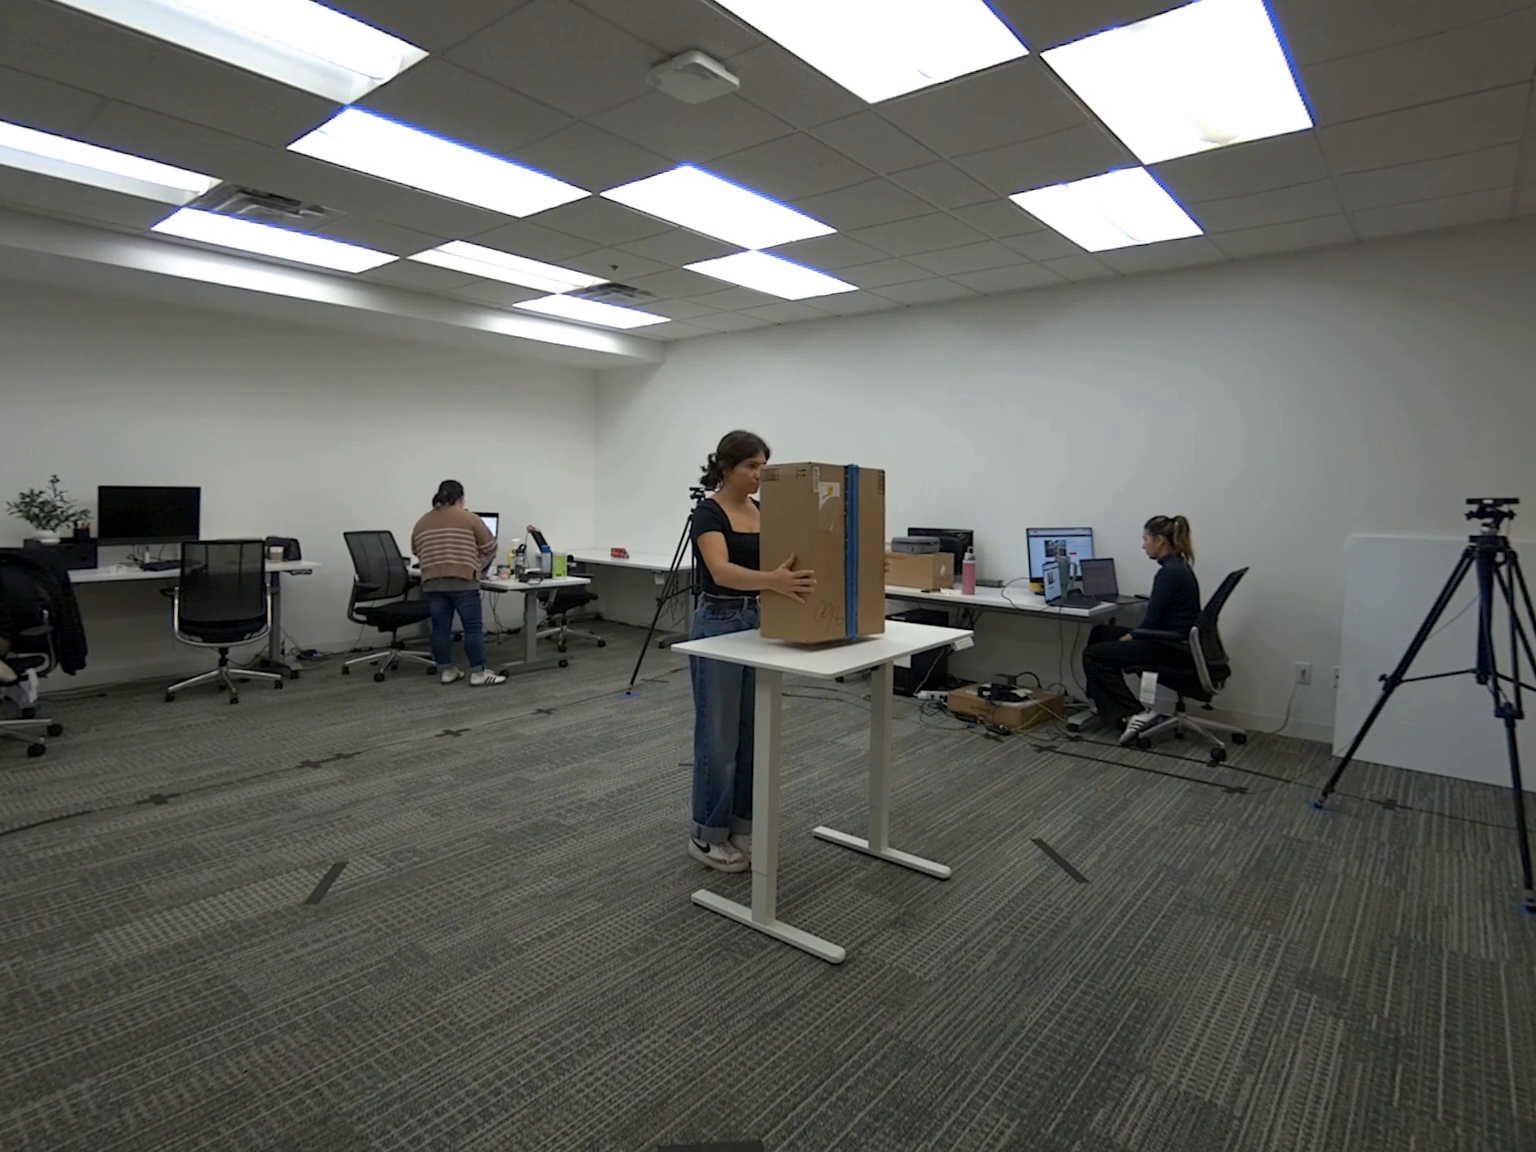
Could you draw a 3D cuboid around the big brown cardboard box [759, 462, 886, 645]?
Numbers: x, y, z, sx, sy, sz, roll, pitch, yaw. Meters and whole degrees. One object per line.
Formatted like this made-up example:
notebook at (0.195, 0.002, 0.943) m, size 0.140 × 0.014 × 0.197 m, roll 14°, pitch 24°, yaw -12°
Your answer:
big brown cardboard box at (0.183, -0.090, 2.867) m, size 0.241 × 0.588 × 0.404 m, roll 2°, pitch 2°, yaw 43°
